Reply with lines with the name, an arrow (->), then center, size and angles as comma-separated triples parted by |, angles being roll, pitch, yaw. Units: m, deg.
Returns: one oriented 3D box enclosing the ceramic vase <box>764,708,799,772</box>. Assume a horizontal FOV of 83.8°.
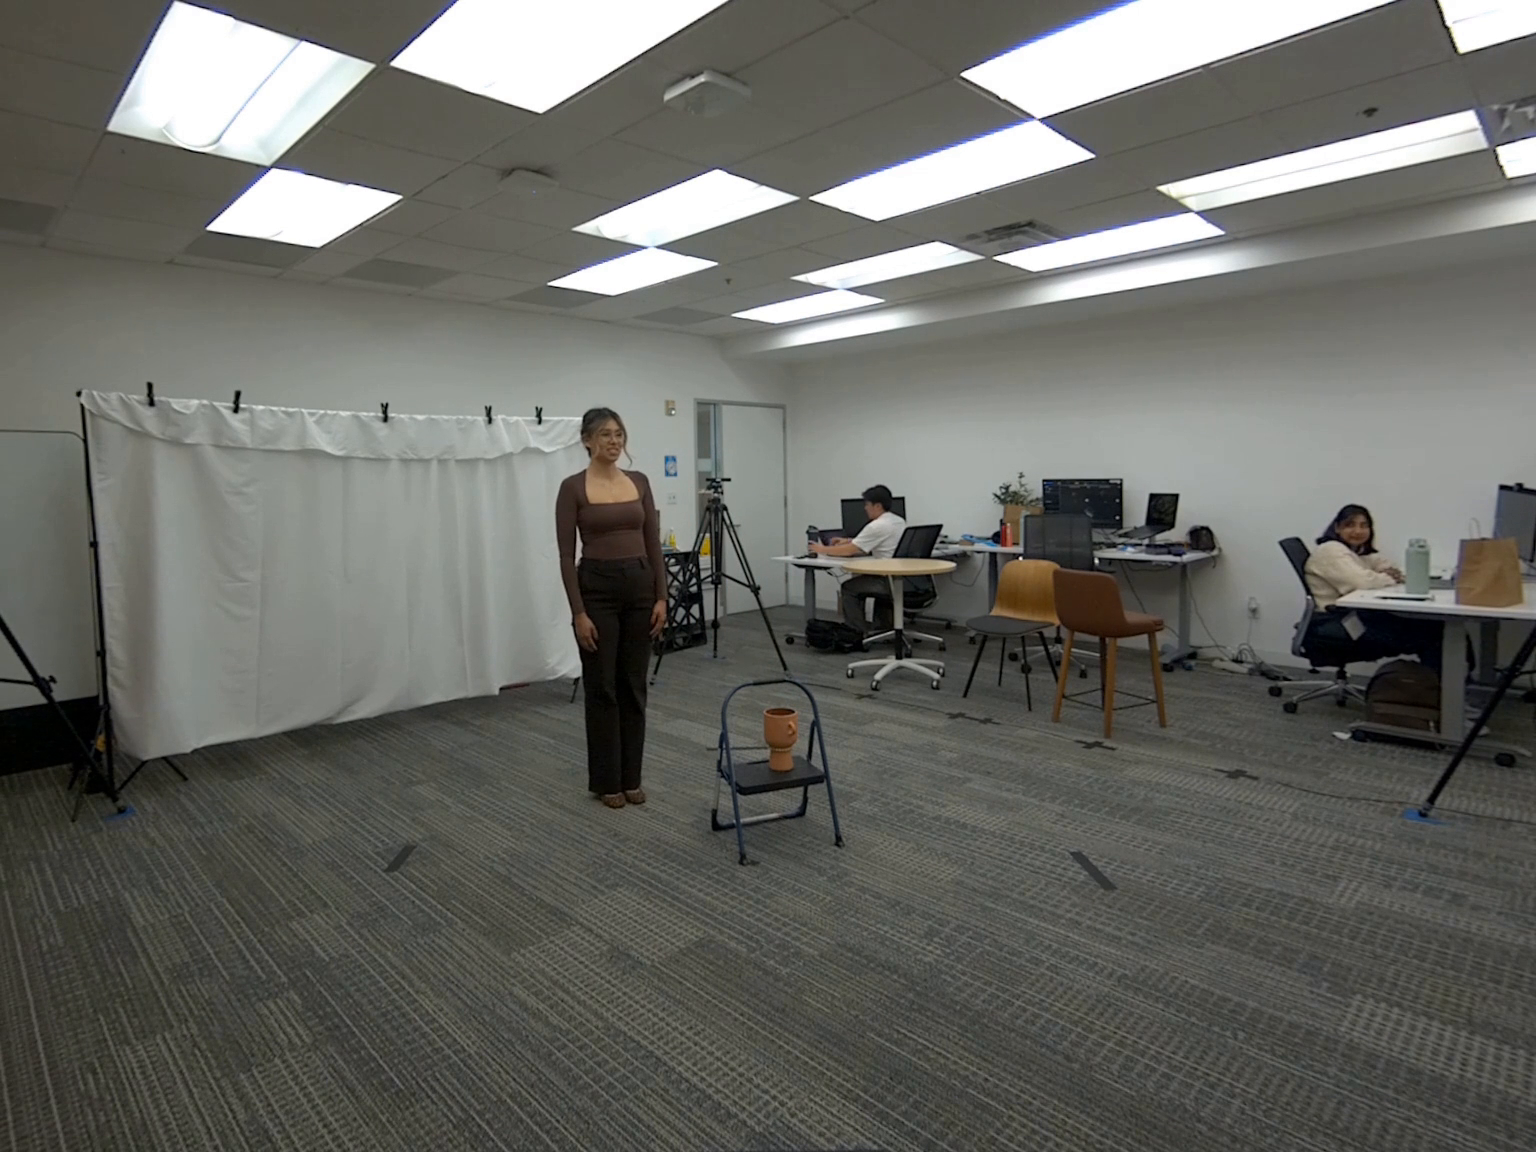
ceramic vase -> 0.055, 0.637, 3.348 | 0.136, 0.219, 0.158 | 0, 6, 7
